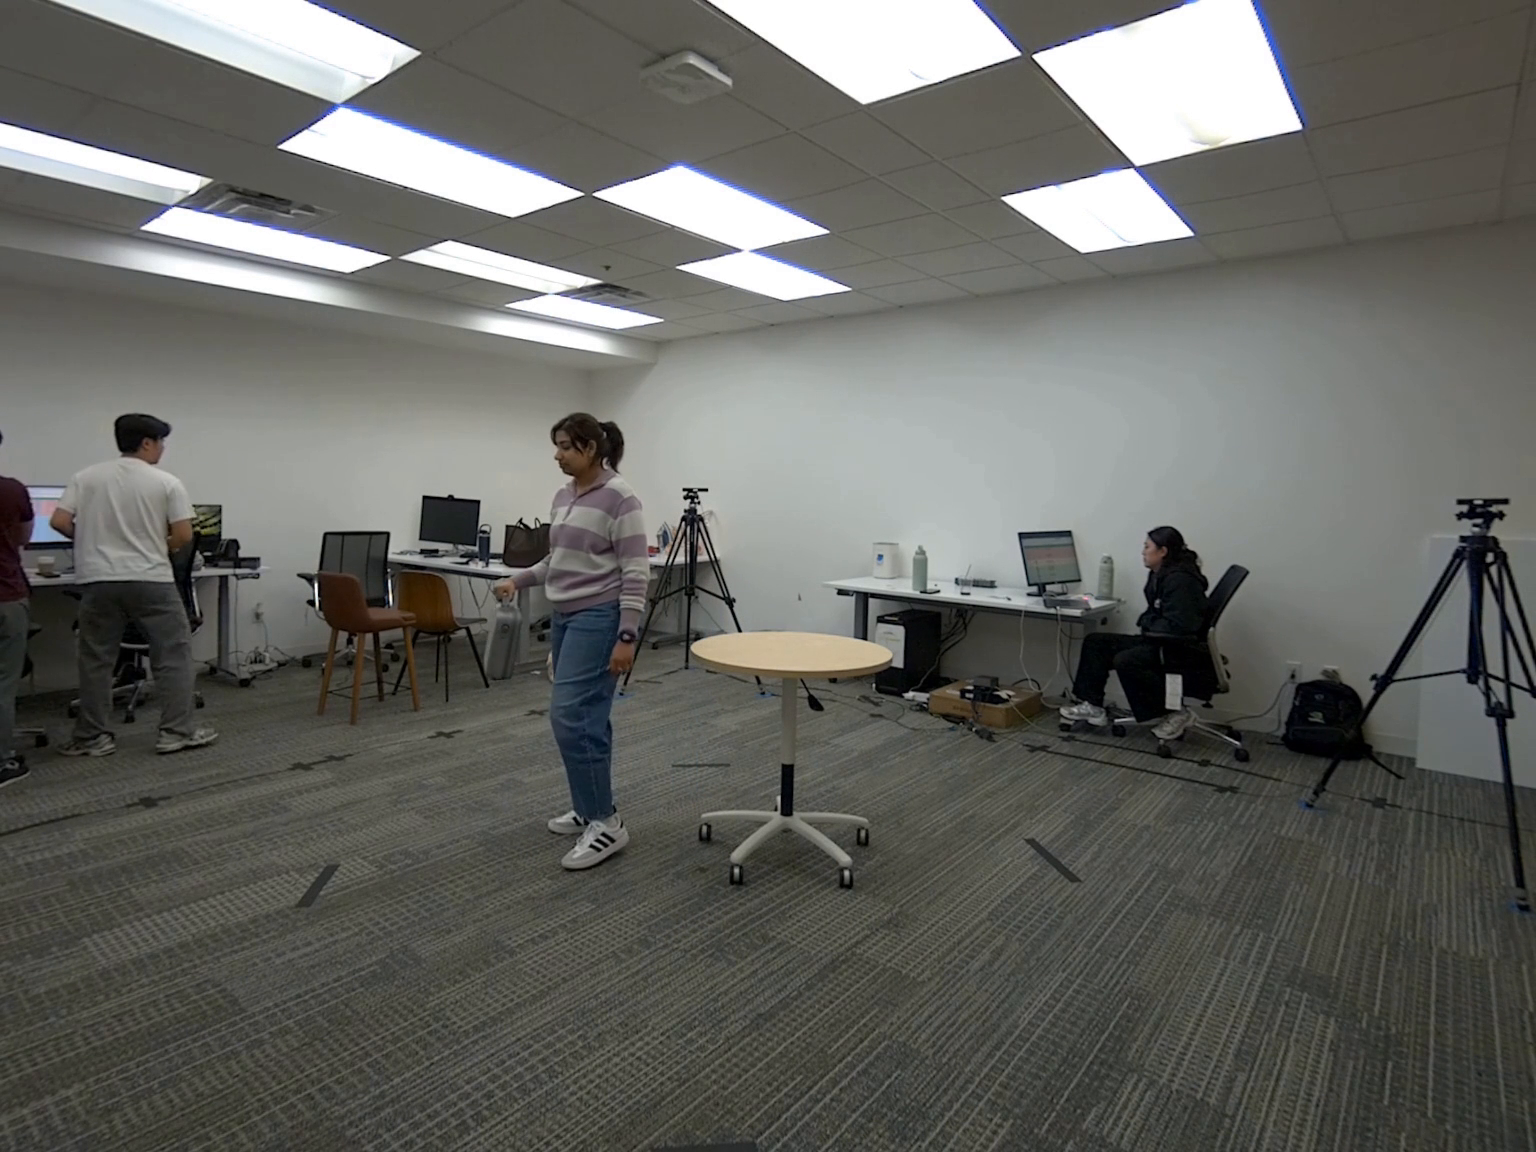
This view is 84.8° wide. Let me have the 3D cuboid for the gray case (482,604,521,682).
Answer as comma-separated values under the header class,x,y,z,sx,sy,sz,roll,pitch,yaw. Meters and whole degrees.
class,x,y,z,sx,sy,sz,roll,pitch,yaw
gray case,-1.051,0.243,3.340,0.102,0.259,0.264,9,7,-21
